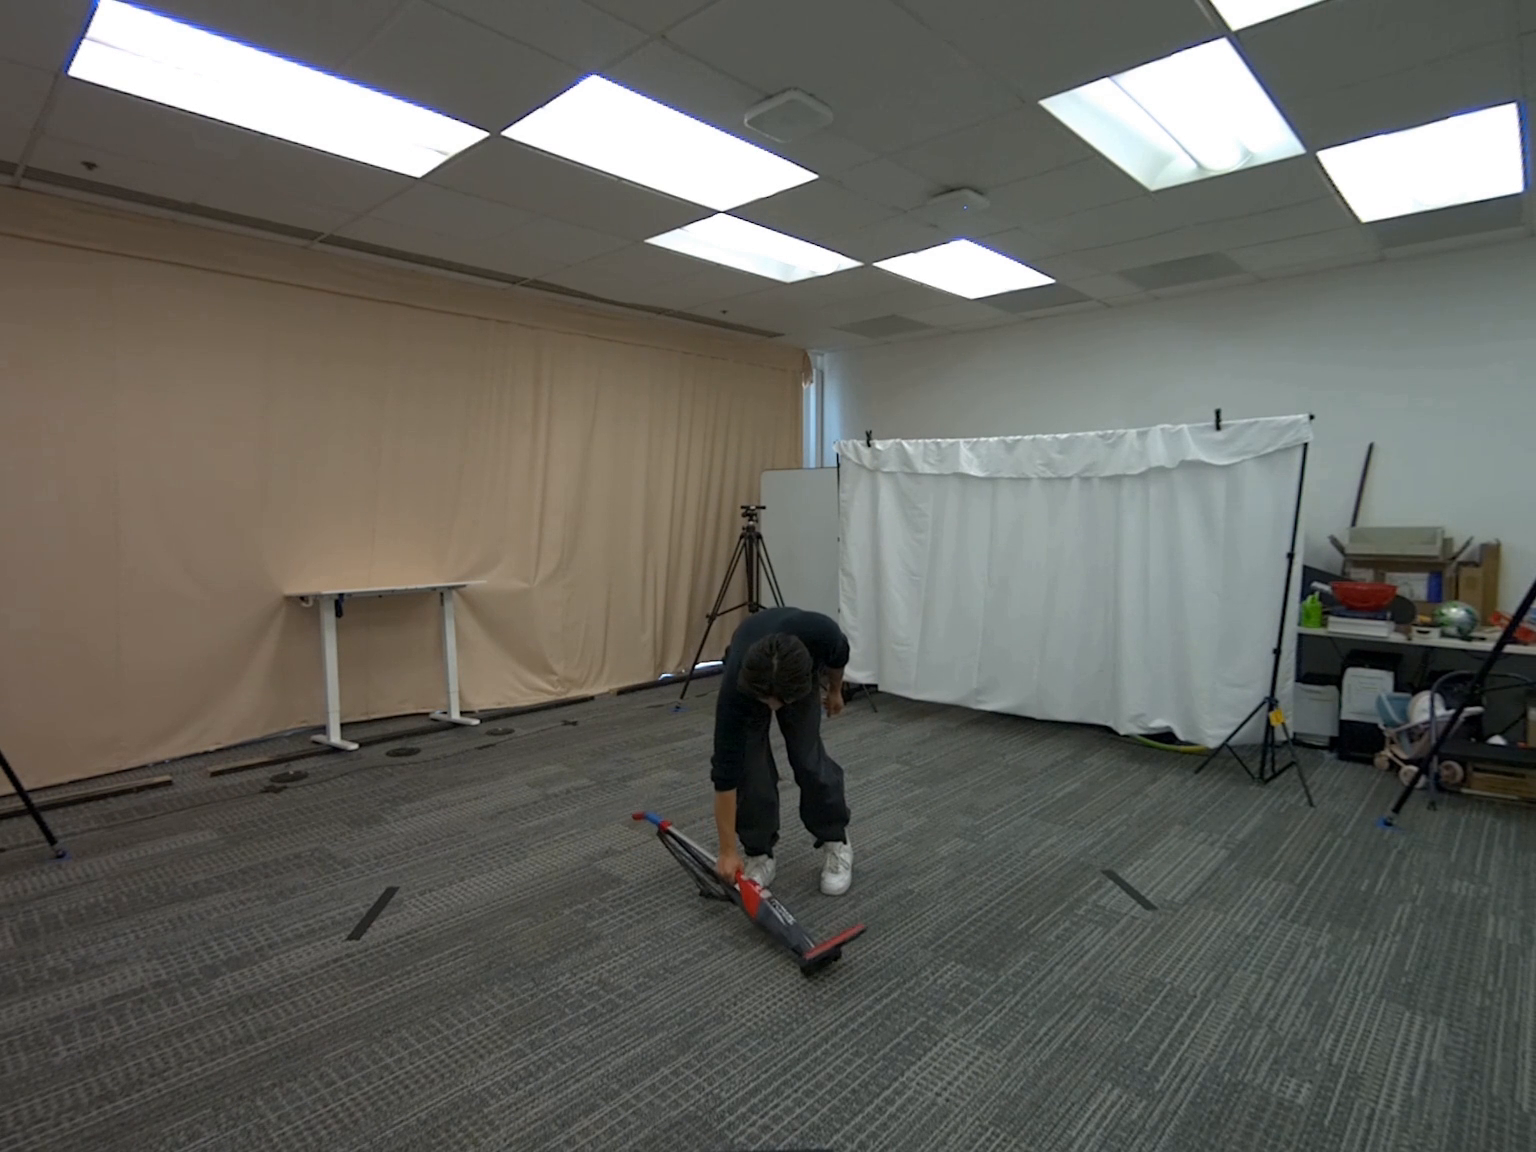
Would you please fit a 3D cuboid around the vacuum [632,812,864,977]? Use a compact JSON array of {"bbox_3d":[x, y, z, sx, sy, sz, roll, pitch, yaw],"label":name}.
[{"bbox_3d":[-0.178,1.030,2.879,0.246,0.143,1.086,-11,15,-38],"label":"vacuum"}]
